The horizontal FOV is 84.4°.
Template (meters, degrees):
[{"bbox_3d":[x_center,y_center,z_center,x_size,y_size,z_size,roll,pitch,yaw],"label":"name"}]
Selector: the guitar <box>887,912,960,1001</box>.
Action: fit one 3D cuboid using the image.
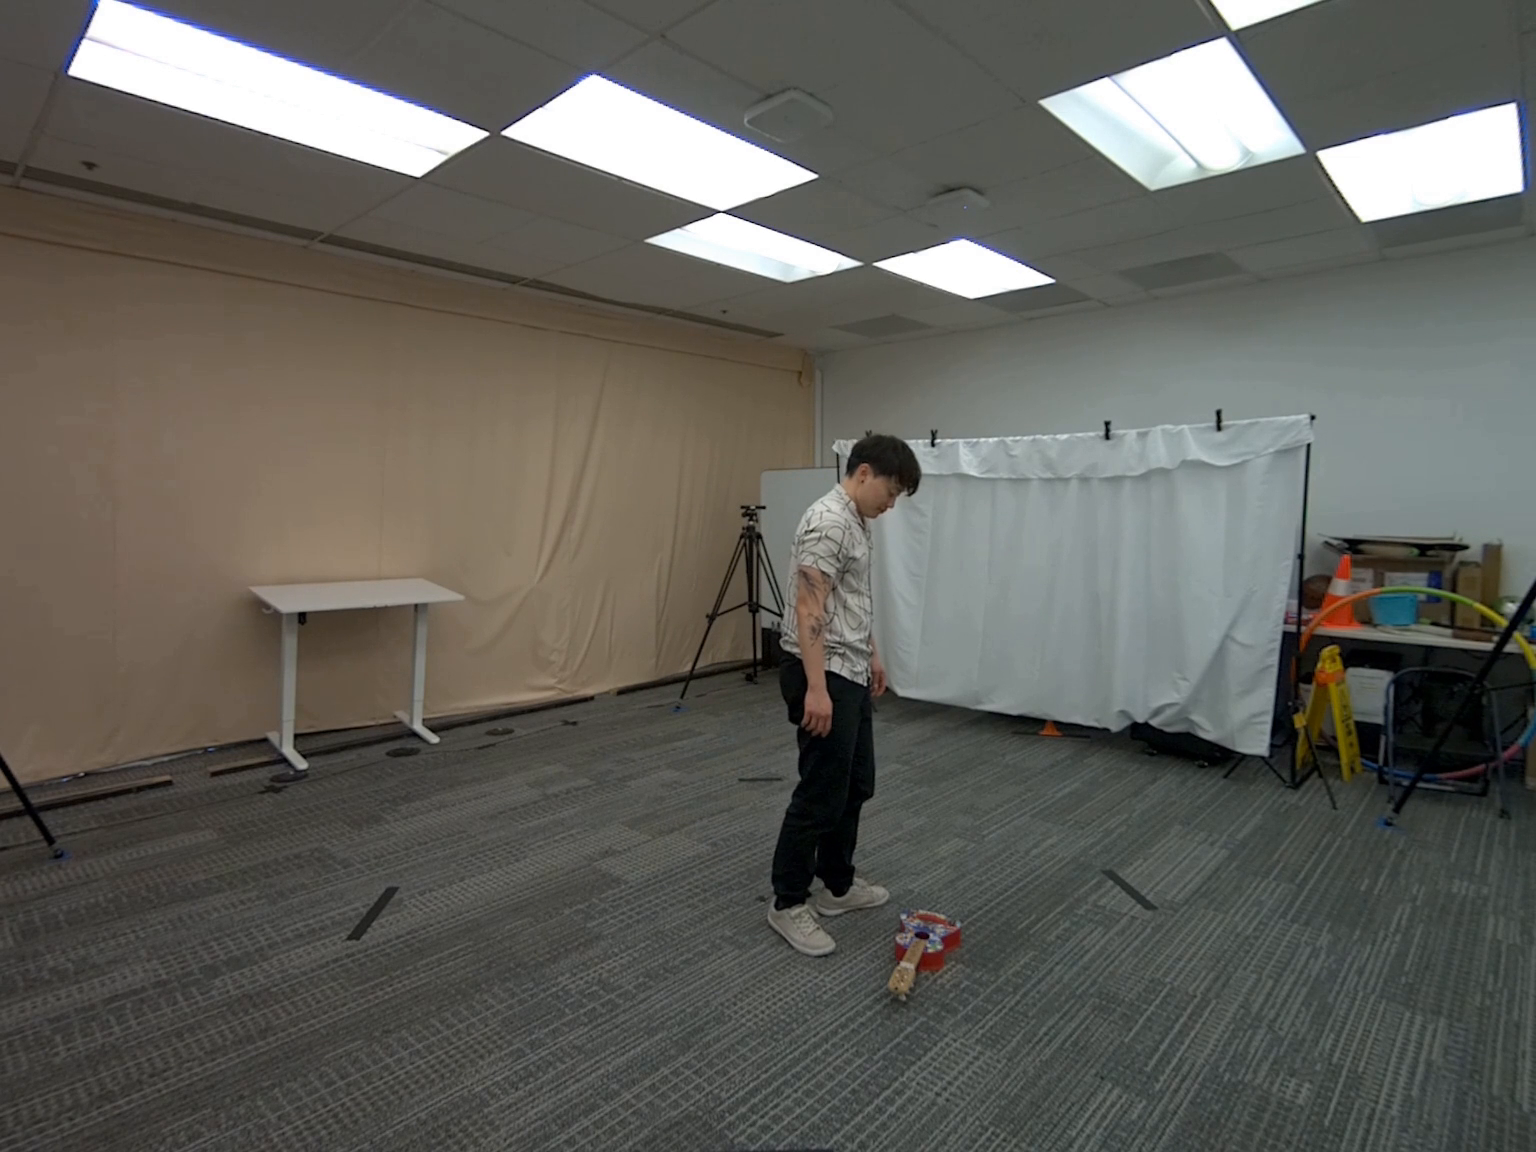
[{"bbox_3d":[0.429,1.145,2.551,0.199,0.070,0.484,3,5,32],"label":"guitar"}]
